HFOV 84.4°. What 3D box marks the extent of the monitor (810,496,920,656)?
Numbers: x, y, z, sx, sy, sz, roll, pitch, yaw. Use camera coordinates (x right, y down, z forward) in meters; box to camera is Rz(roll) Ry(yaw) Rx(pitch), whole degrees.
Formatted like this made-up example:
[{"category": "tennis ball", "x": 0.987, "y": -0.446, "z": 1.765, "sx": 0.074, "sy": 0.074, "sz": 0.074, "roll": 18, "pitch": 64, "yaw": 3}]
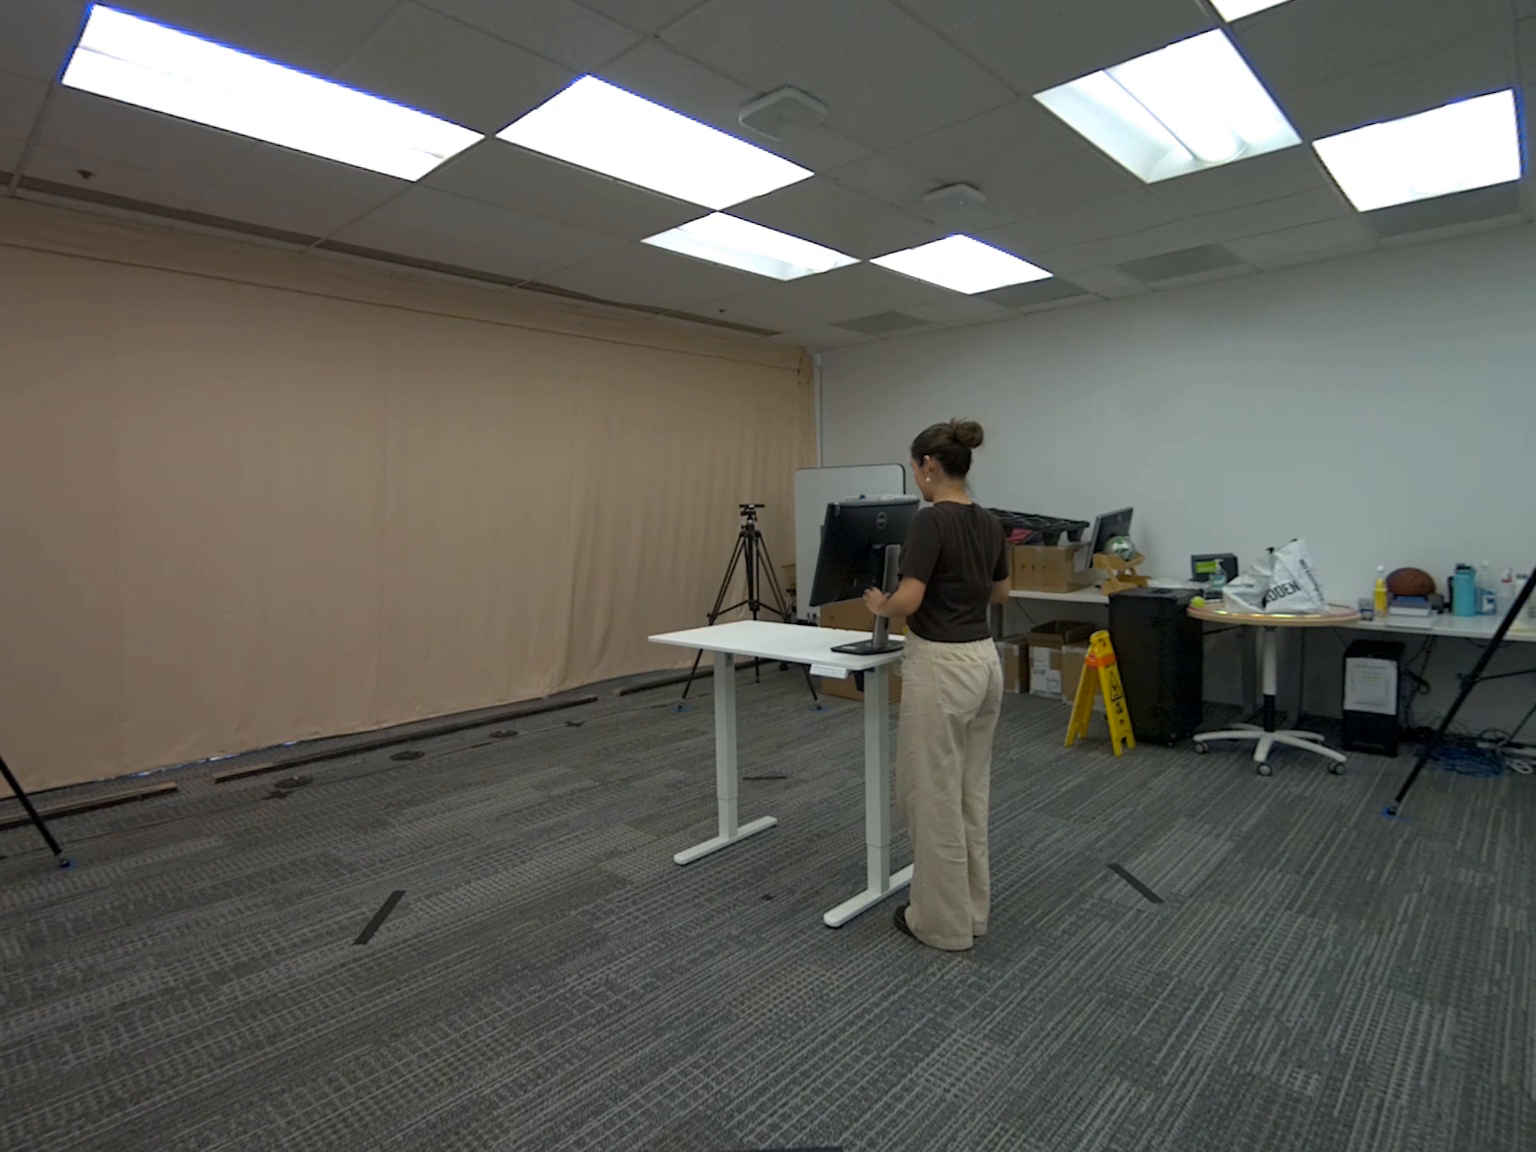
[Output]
[{"category": "monitor", "x": 0.373, "y": -0.003, "z": 2.909, "sx": 0.180, "sy": 0.515, "sz": 0.514, "roll": -2, "pitch": 4, "yaw": 41}]
